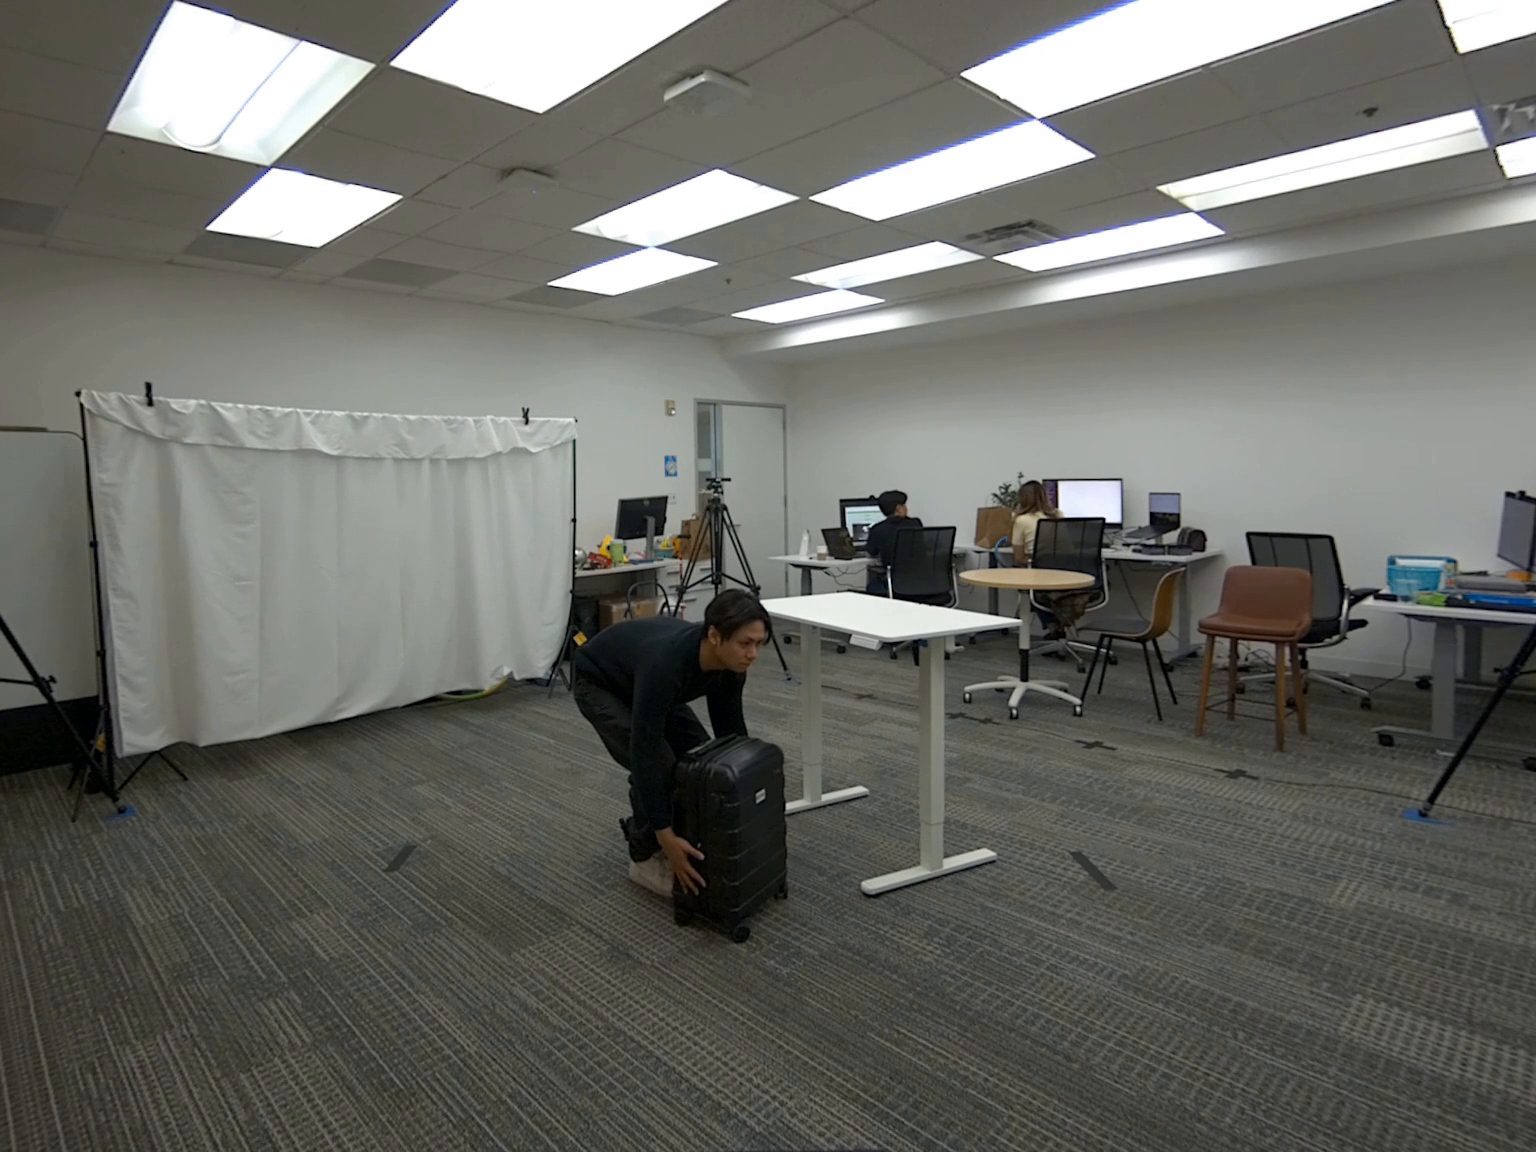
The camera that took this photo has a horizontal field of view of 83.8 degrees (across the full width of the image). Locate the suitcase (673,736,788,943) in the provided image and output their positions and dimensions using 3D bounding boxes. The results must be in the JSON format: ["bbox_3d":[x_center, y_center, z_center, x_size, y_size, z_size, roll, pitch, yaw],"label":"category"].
[{"bbox_3d":[-0.113,0.810,2.741,0.255,0.547,0.367,1,5,30],"label":"suitcase"}]
